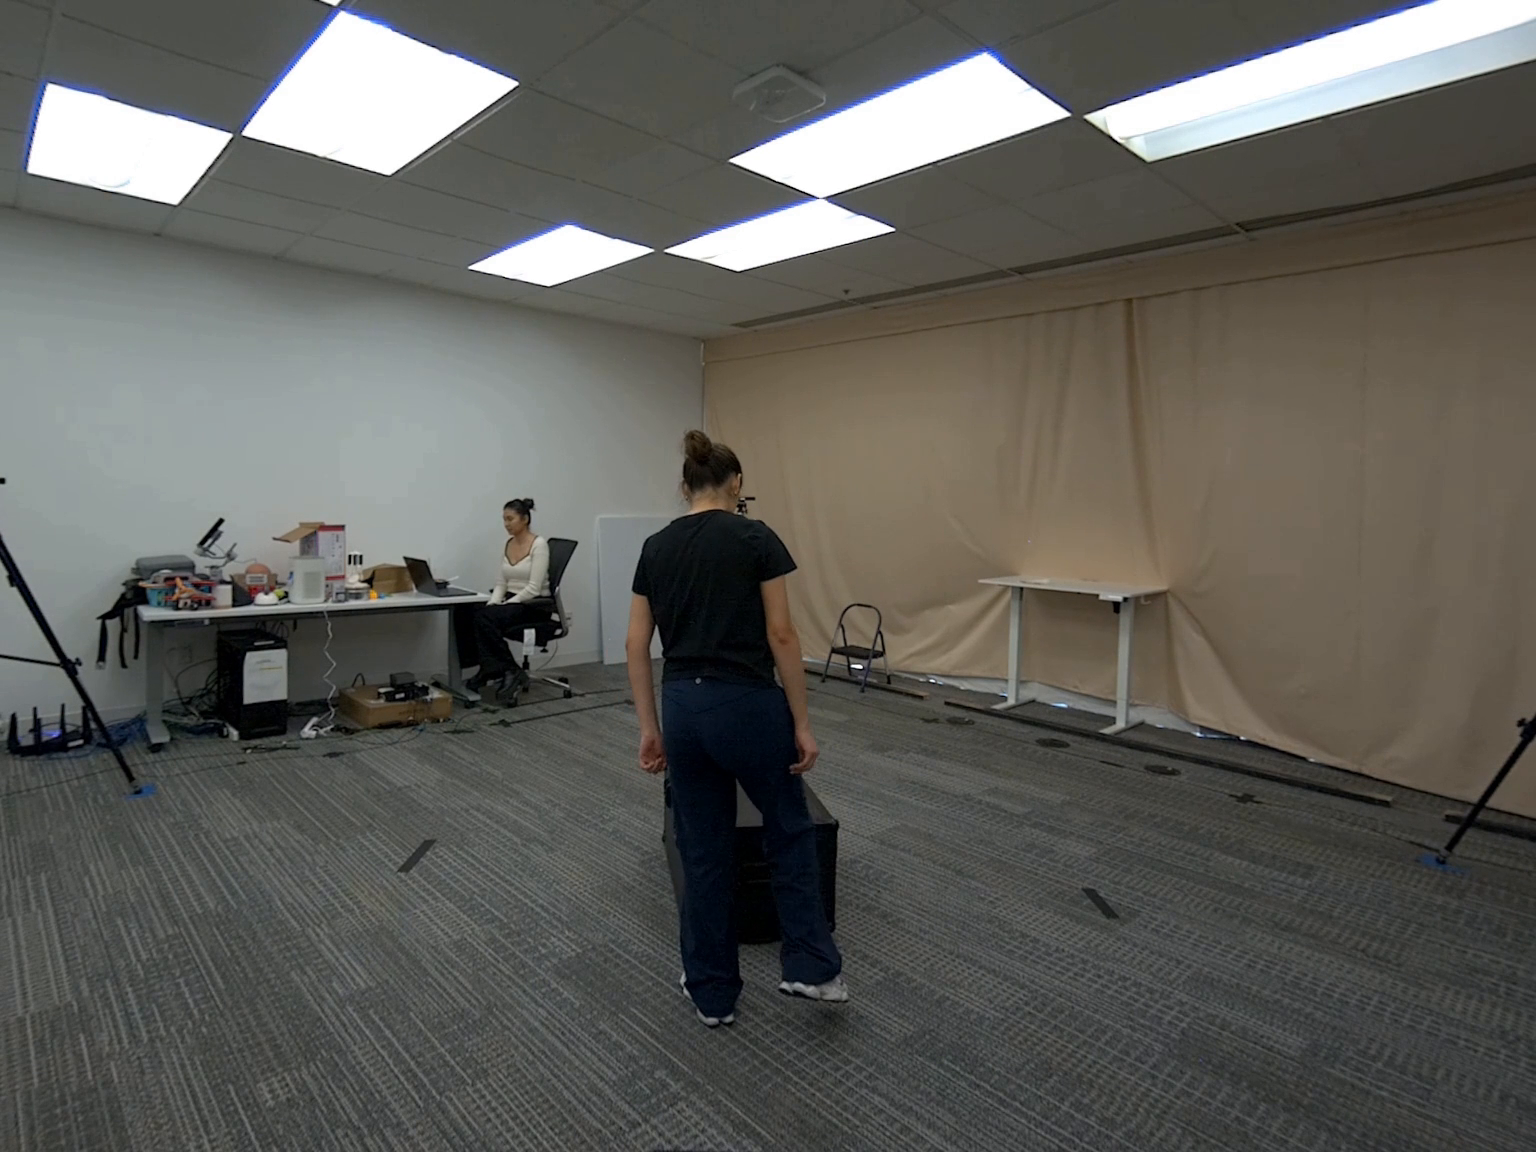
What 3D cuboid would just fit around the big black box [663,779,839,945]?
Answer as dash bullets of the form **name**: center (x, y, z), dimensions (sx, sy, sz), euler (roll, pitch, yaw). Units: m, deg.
- **big black box**: center (-0.105, 0.925, 3.016), dimensions (0.516, 0.395, 0.872), euler (1, 5, -12)
